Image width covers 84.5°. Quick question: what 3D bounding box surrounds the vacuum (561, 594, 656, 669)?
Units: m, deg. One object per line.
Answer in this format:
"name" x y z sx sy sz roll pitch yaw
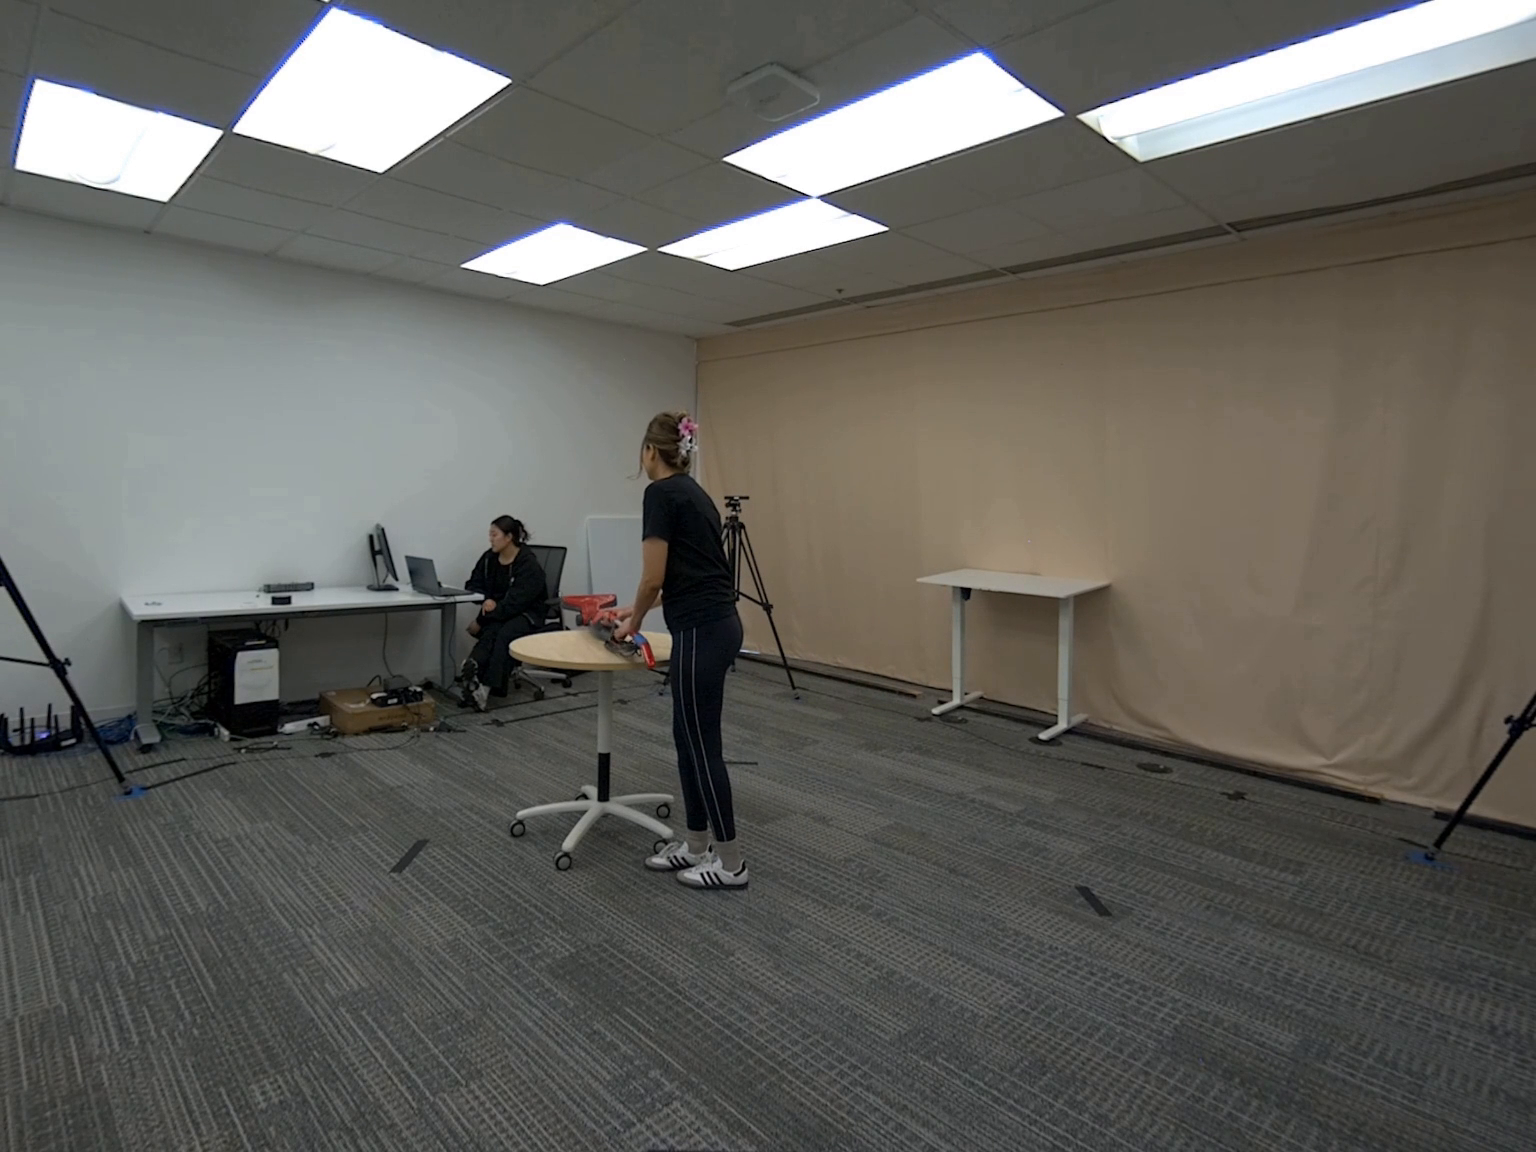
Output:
"vacuum" -0.610 0.236 3.337 0.248 0.143 1.072 -2 9 -23
